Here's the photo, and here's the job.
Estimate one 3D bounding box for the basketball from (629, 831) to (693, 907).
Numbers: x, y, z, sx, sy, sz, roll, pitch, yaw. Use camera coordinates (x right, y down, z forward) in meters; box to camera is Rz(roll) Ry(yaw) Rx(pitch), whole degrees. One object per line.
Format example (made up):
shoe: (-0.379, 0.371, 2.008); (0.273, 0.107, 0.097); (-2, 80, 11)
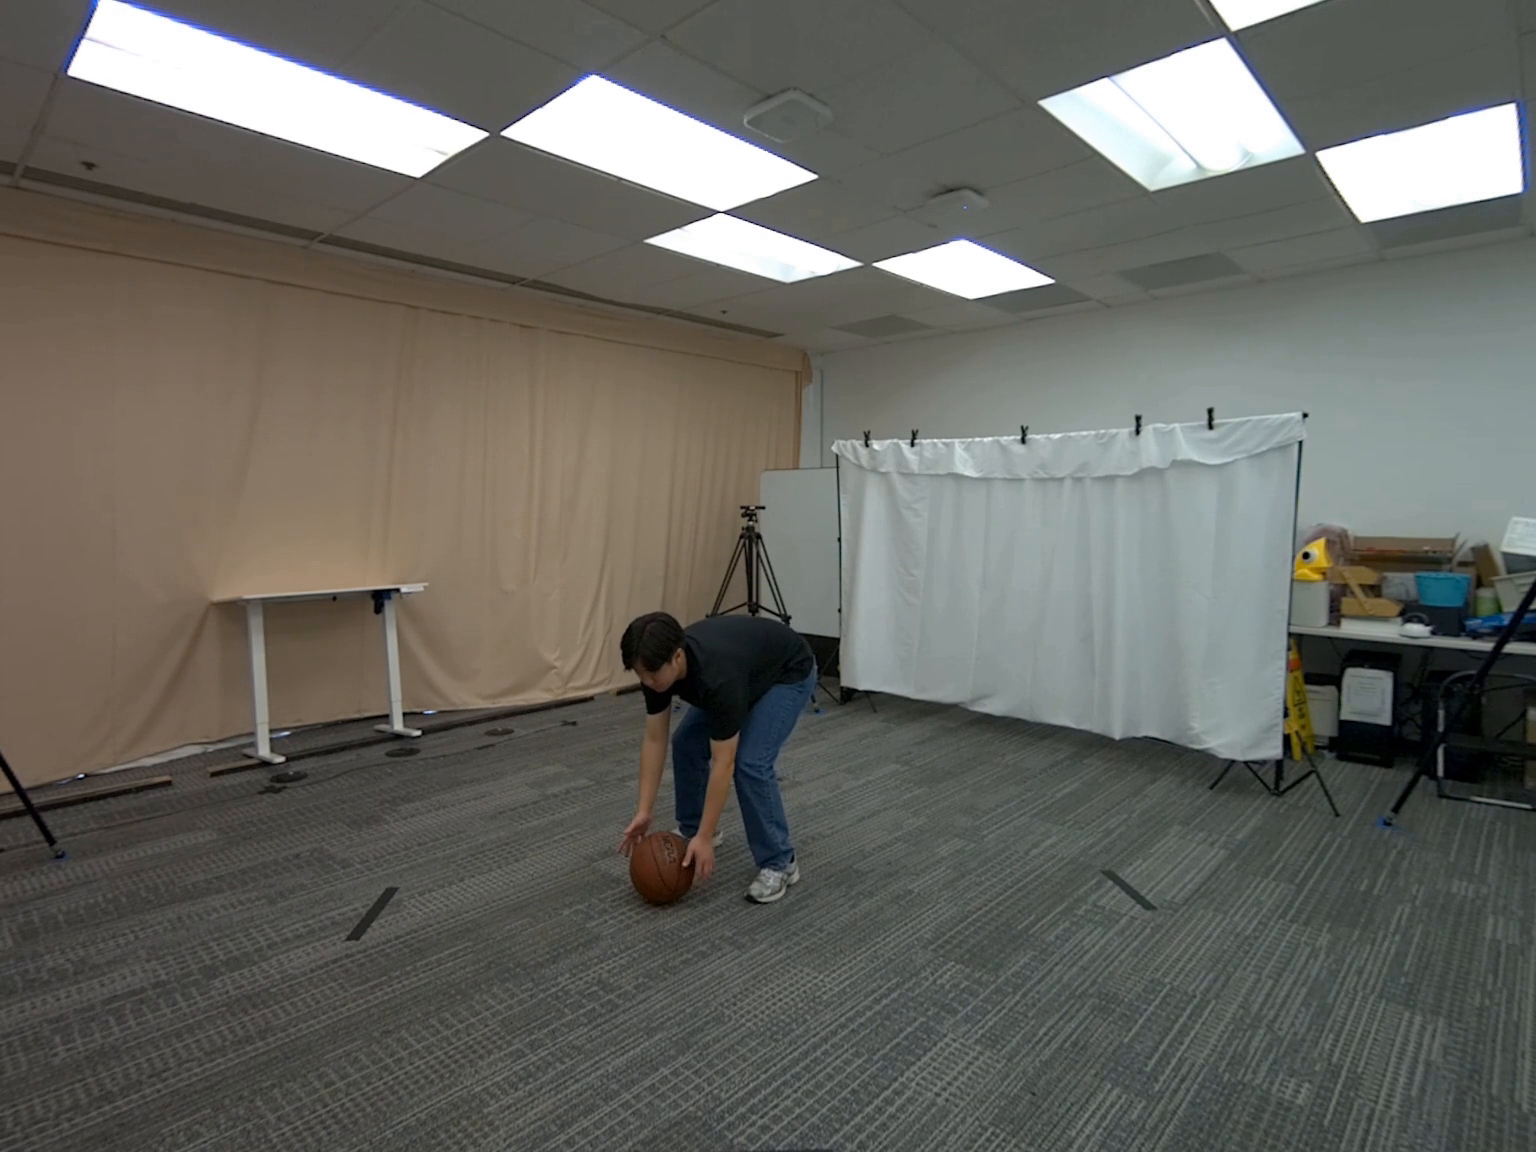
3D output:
basketball: (-0.367, 1.024, 2.982); (0.236, 0.235, 0.237); (0, 4, -2)
